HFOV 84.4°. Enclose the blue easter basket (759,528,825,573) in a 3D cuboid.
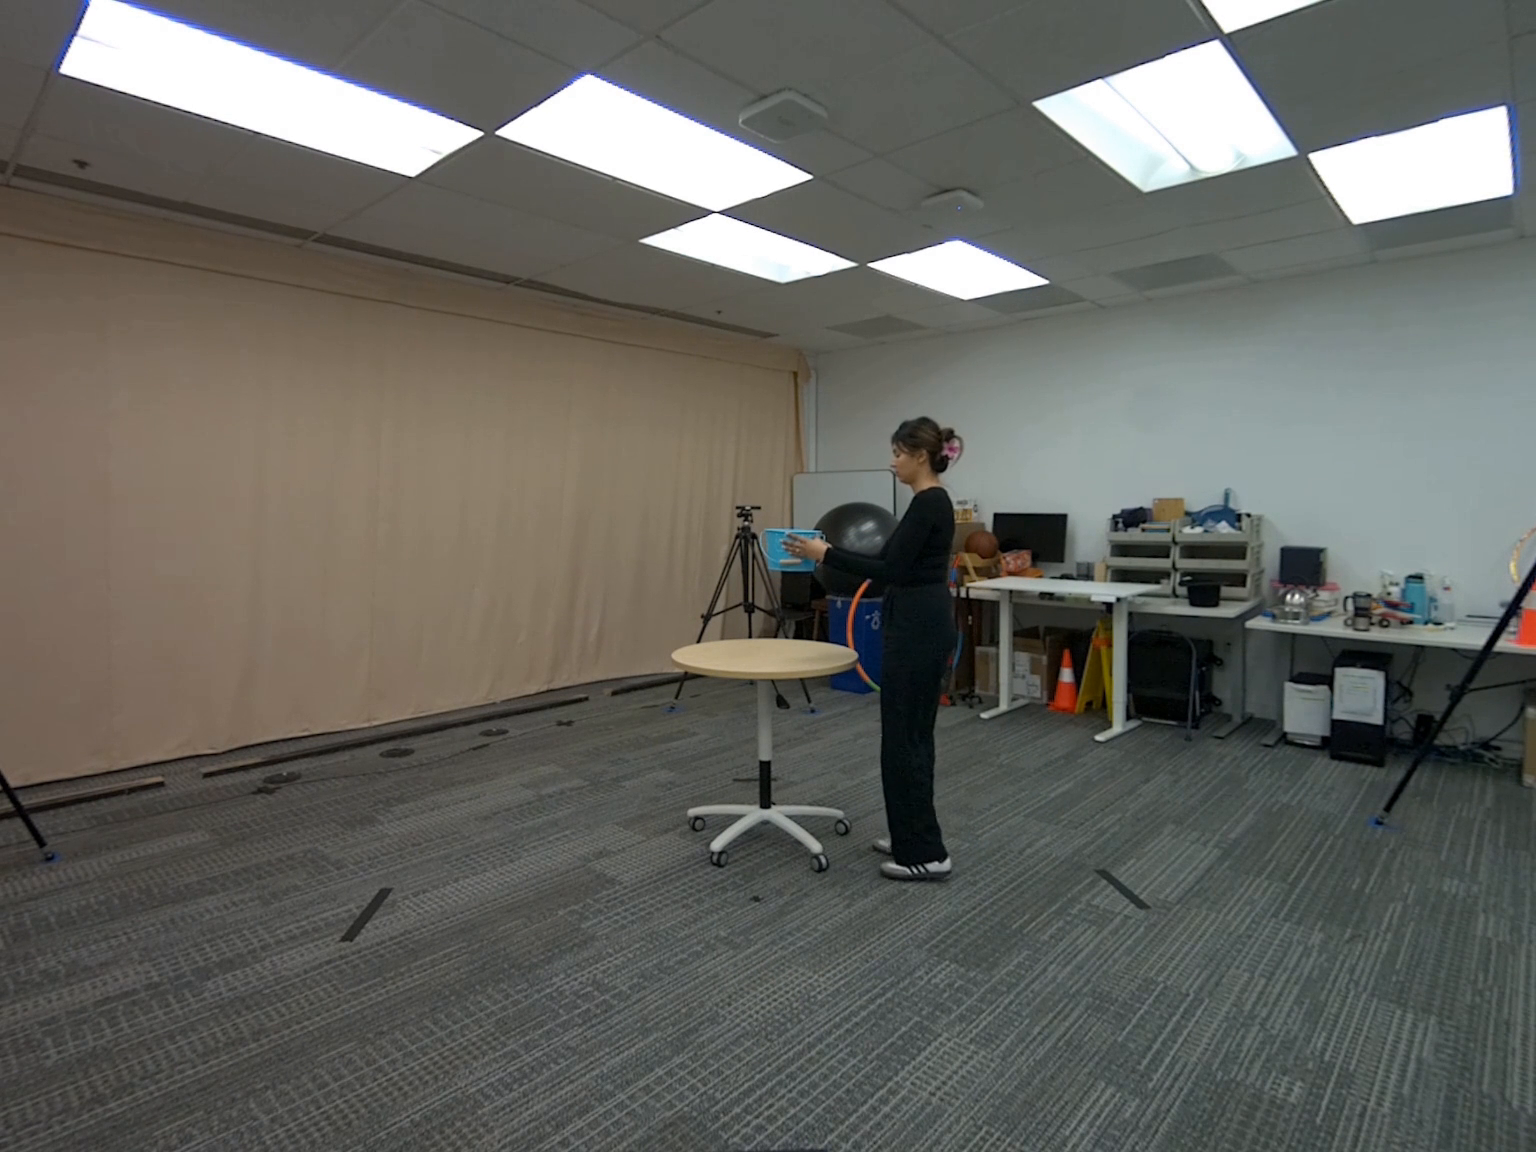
[{"bbox_3d":[0.106,-0.095,3.291,0.243,0.155,0.244,2,3,-2],"label":"blue easter basket"}]
